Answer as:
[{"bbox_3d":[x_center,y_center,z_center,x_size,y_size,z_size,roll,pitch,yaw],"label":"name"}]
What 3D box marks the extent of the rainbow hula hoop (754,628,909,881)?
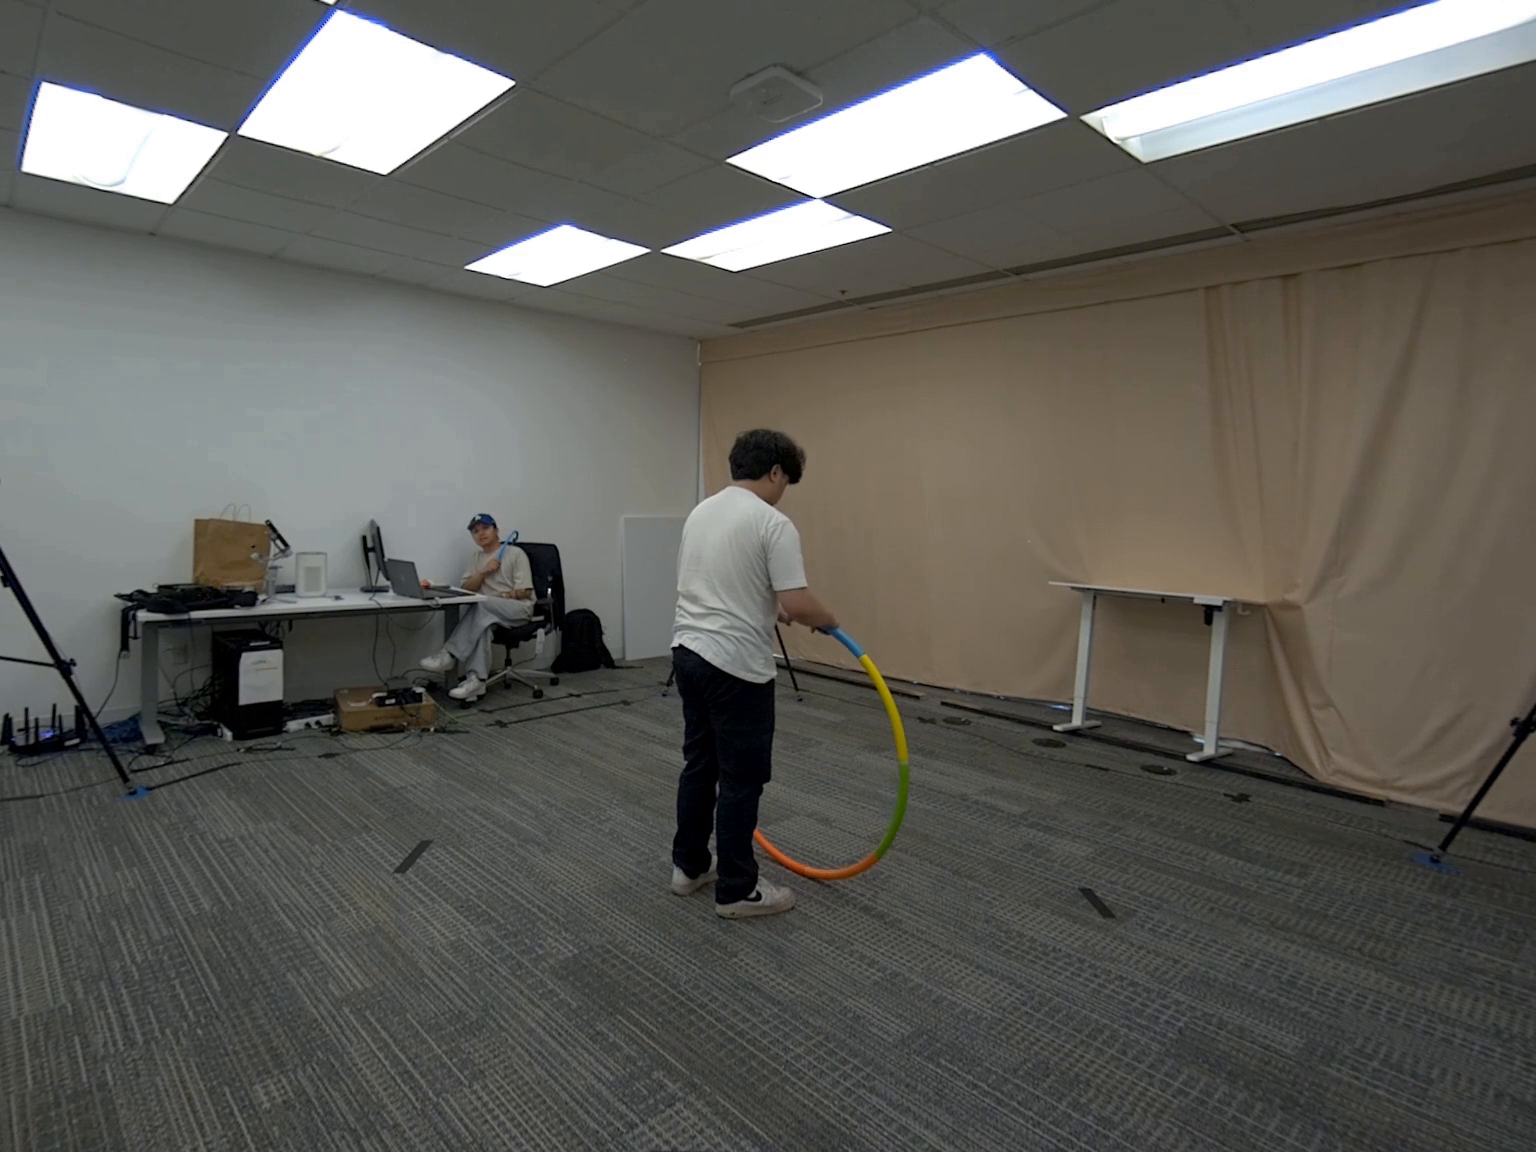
[{"bbox_3d":[0.105,0.625,3.122,0.050,0.981,1.011,-5,7,-42],"label":"rainbow hula hoop"}]
